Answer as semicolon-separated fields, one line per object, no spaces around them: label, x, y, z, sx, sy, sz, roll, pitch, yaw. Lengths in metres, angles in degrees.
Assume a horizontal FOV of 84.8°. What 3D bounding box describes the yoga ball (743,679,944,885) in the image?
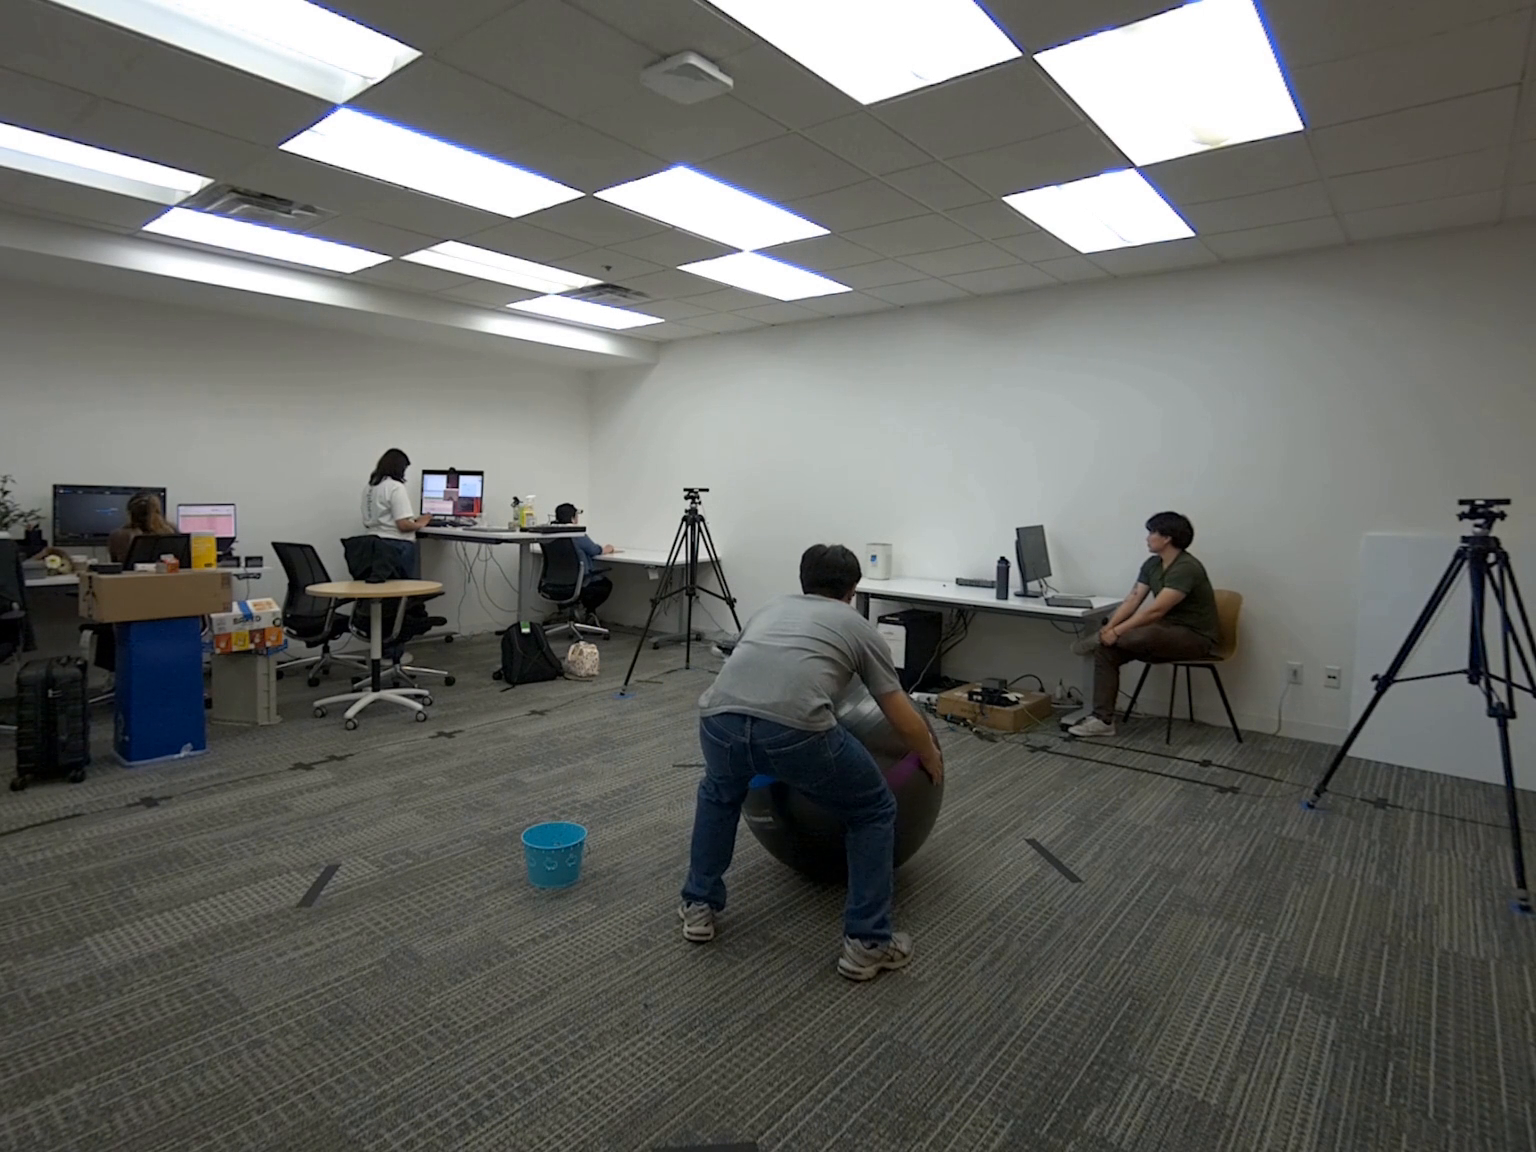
yoga ball;0.256;0.698;3.124;0.757;0.755;0.762;1;4;-2
